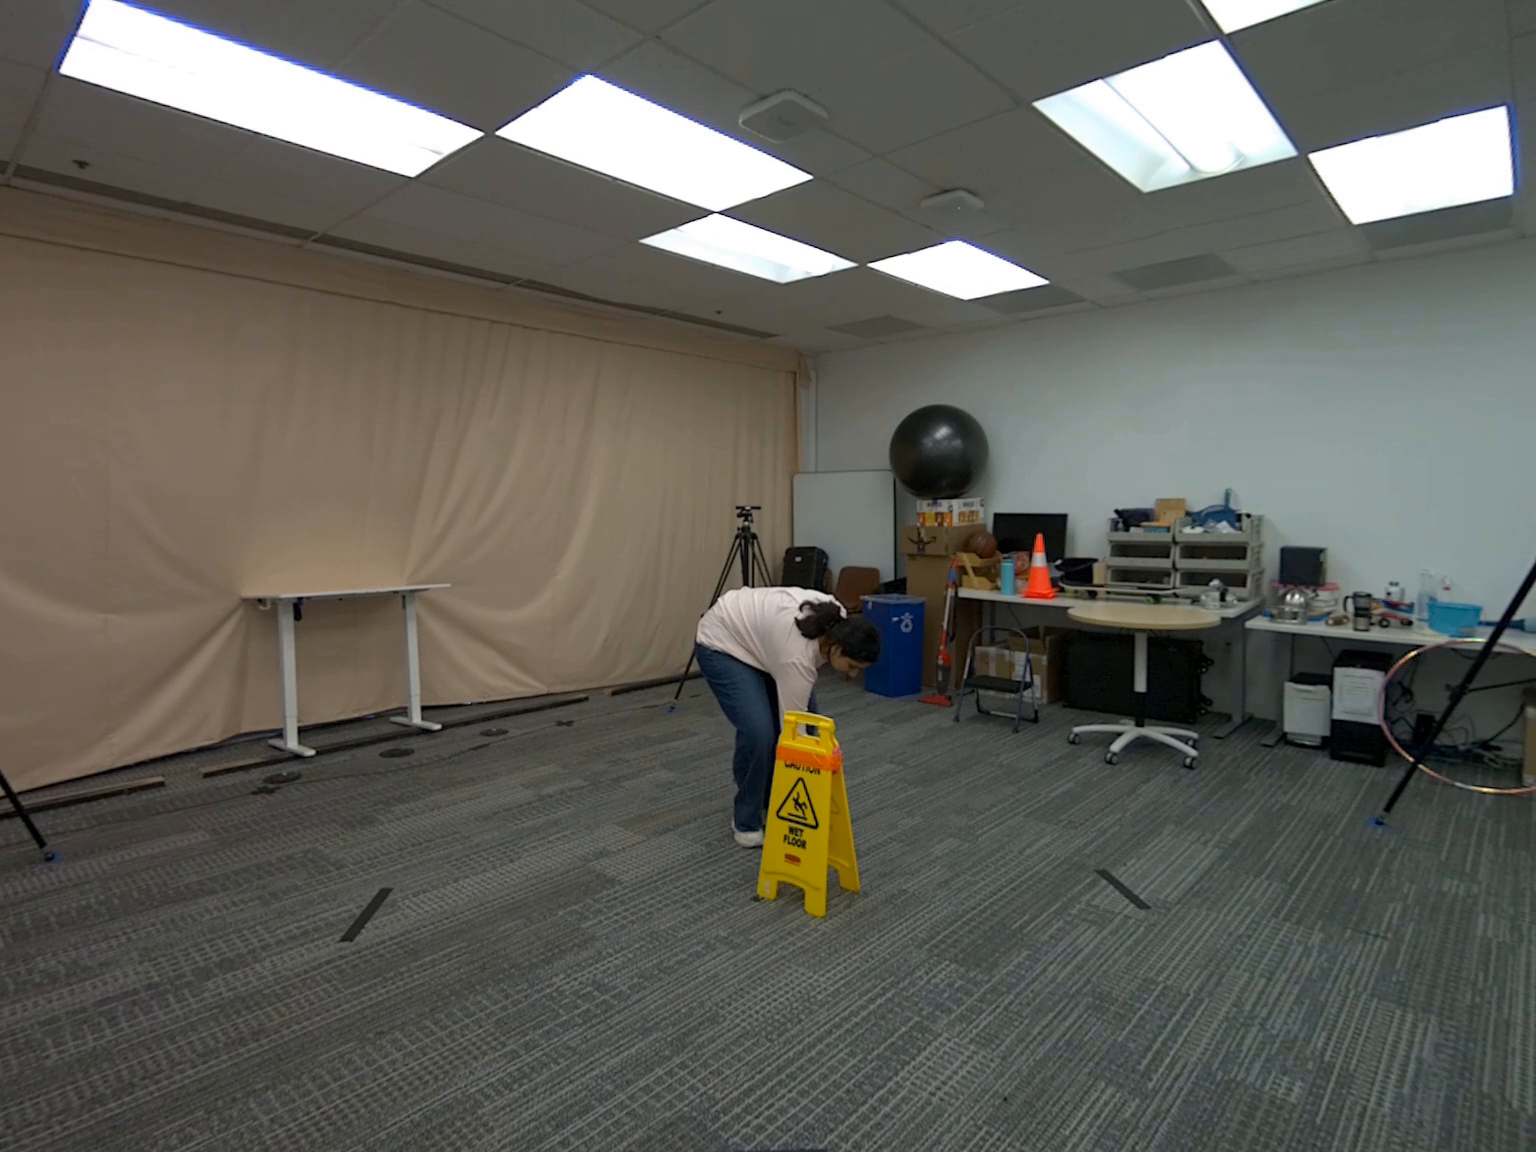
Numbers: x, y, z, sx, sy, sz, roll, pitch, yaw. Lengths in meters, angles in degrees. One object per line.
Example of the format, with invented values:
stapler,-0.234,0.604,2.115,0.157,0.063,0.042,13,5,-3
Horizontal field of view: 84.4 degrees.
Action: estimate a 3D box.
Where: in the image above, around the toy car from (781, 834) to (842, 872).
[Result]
toy car,0.172,1.082,3.327,0.134,0.083,0.246,1,-7,30
